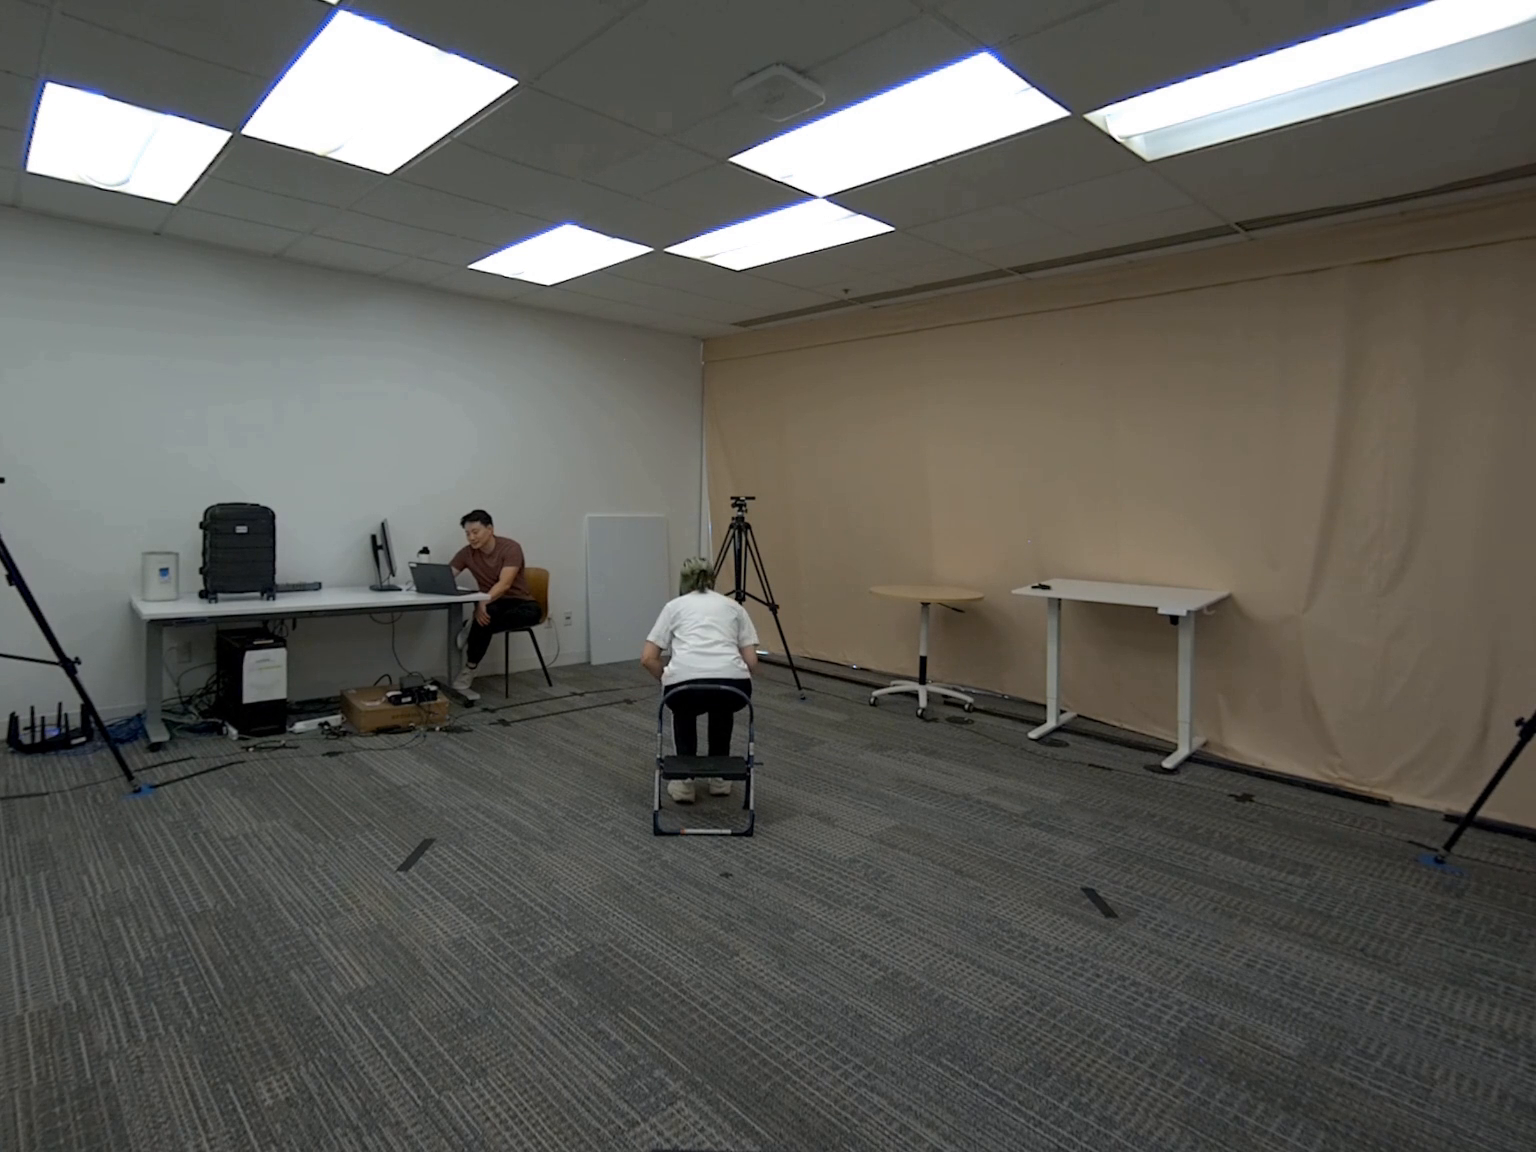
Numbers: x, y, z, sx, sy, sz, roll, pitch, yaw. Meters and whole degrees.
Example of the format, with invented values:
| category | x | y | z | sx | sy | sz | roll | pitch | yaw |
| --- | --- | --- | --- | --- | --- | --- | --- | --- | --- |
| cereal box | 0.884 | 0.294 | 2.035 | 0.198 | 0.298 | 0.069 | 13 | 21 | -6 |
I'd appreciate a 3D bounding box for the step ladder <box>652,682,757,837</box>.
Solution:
| category | x | y | z | sx | sy | sz | roll | pitch | yaw |
| --- | --- | --- | --- | --- | --- | --- | --- | --- | --- |
| step ladder | -0.285 | 0.758 | 3.614 | 0.429 | 0.605 | 0.351 | 1 | 2 | -4 |
